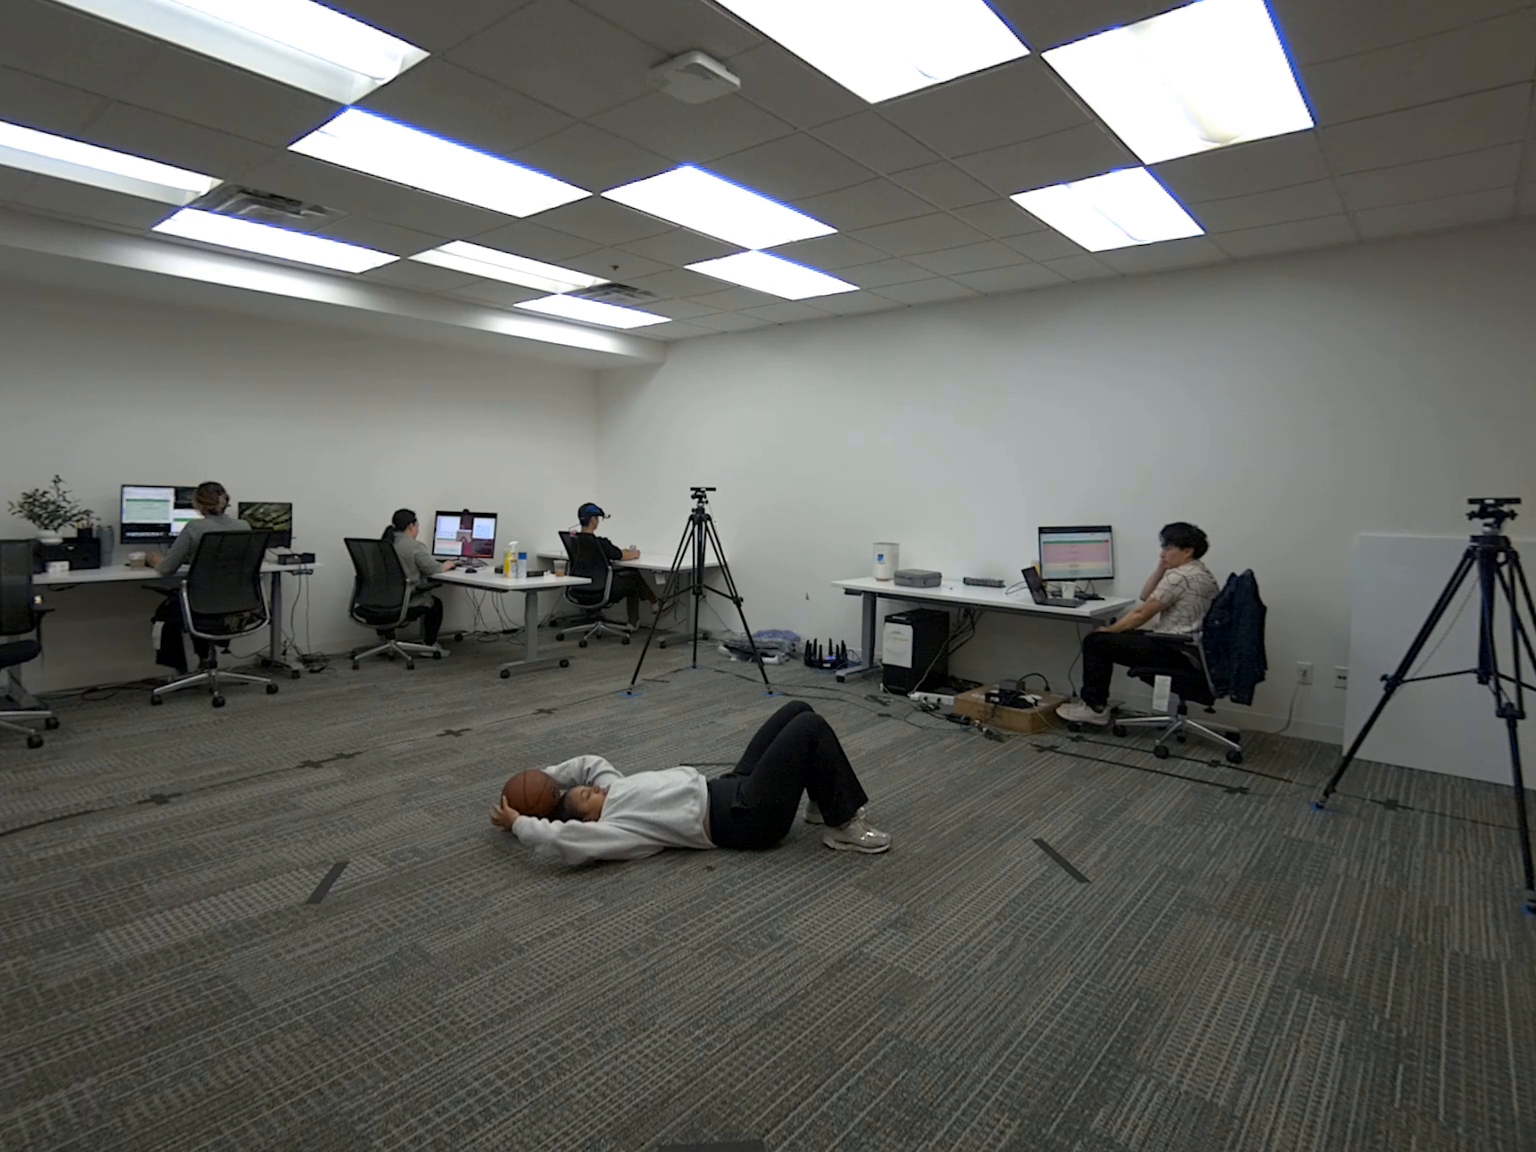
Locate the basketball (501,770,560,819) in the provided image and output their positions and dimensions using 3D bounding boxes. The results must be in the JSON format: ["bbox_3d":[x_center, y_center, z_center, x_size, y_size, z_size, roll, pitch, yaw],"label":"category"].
[{"bbox_3d":[-0.979,0.901,3.437,0.235,0.235,0.237,1,4,-2],"label":"basketball"}]
